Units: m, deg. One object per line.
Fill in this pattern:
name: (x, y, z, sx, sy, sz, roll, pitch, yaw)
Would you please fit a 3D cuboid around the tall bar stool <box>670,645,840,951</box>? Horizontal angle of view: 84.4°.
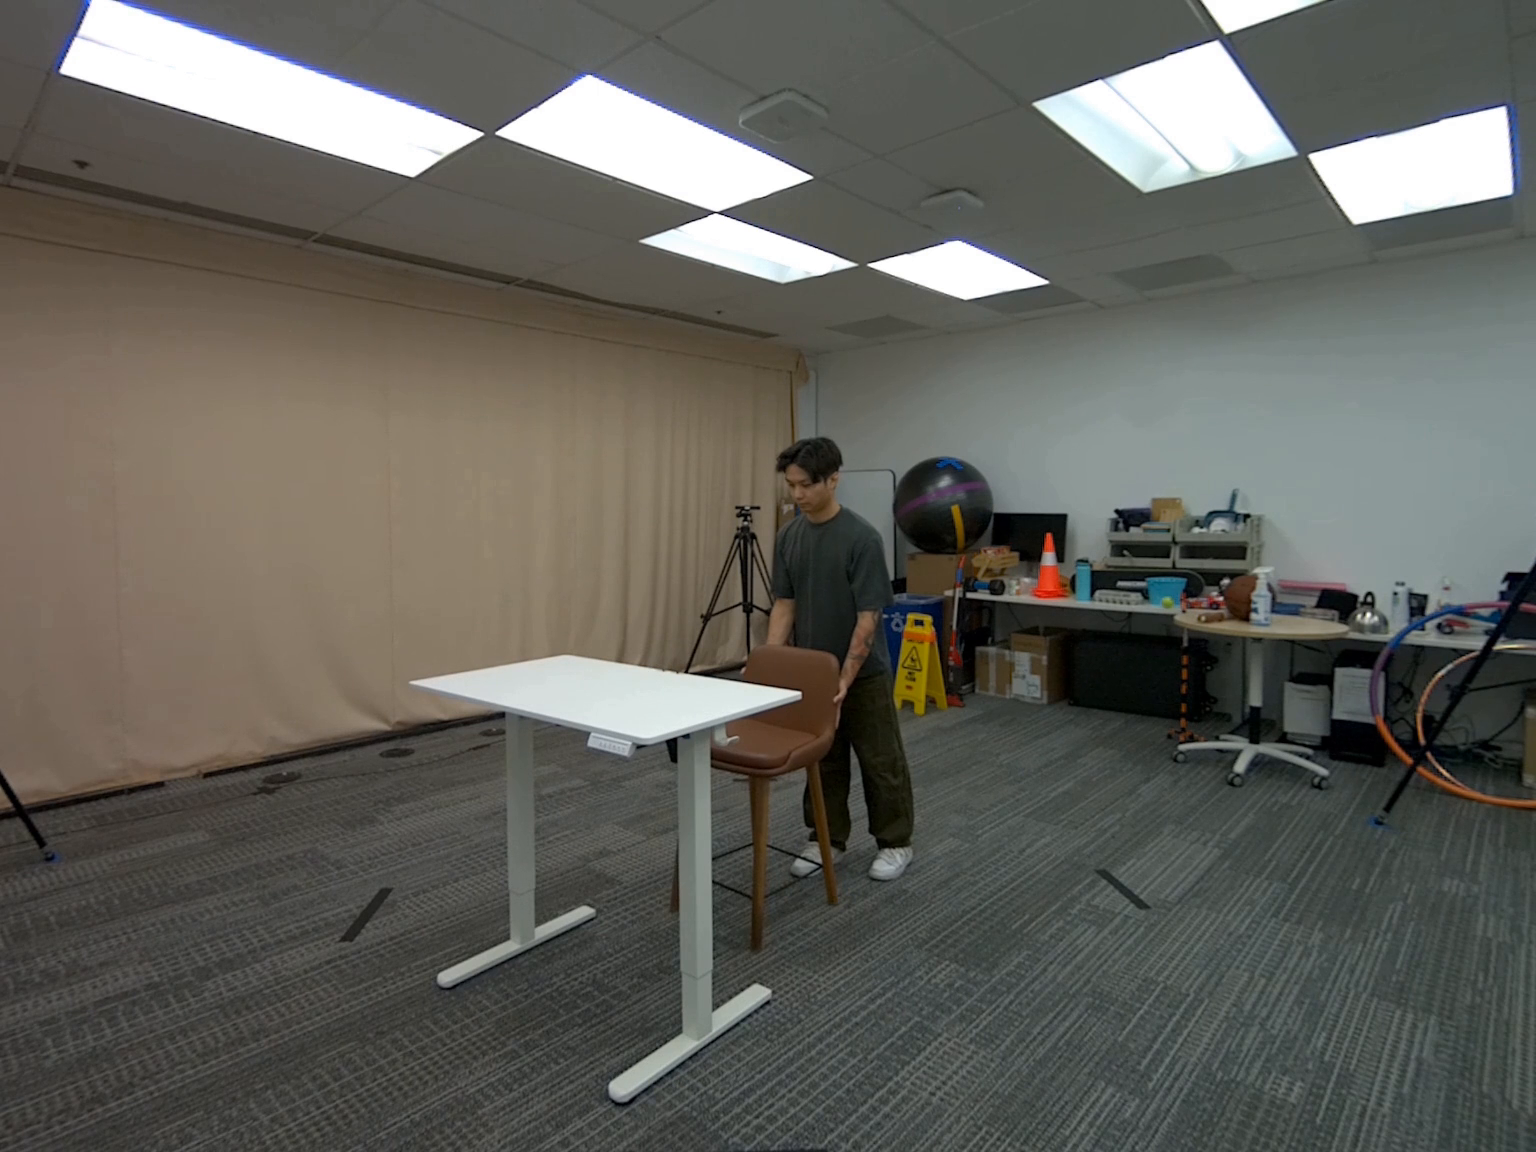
tall bar stool: (-0.034, 0.712, 2.902, 0.472, 0.889, 0.453, 3, 2, 43)
